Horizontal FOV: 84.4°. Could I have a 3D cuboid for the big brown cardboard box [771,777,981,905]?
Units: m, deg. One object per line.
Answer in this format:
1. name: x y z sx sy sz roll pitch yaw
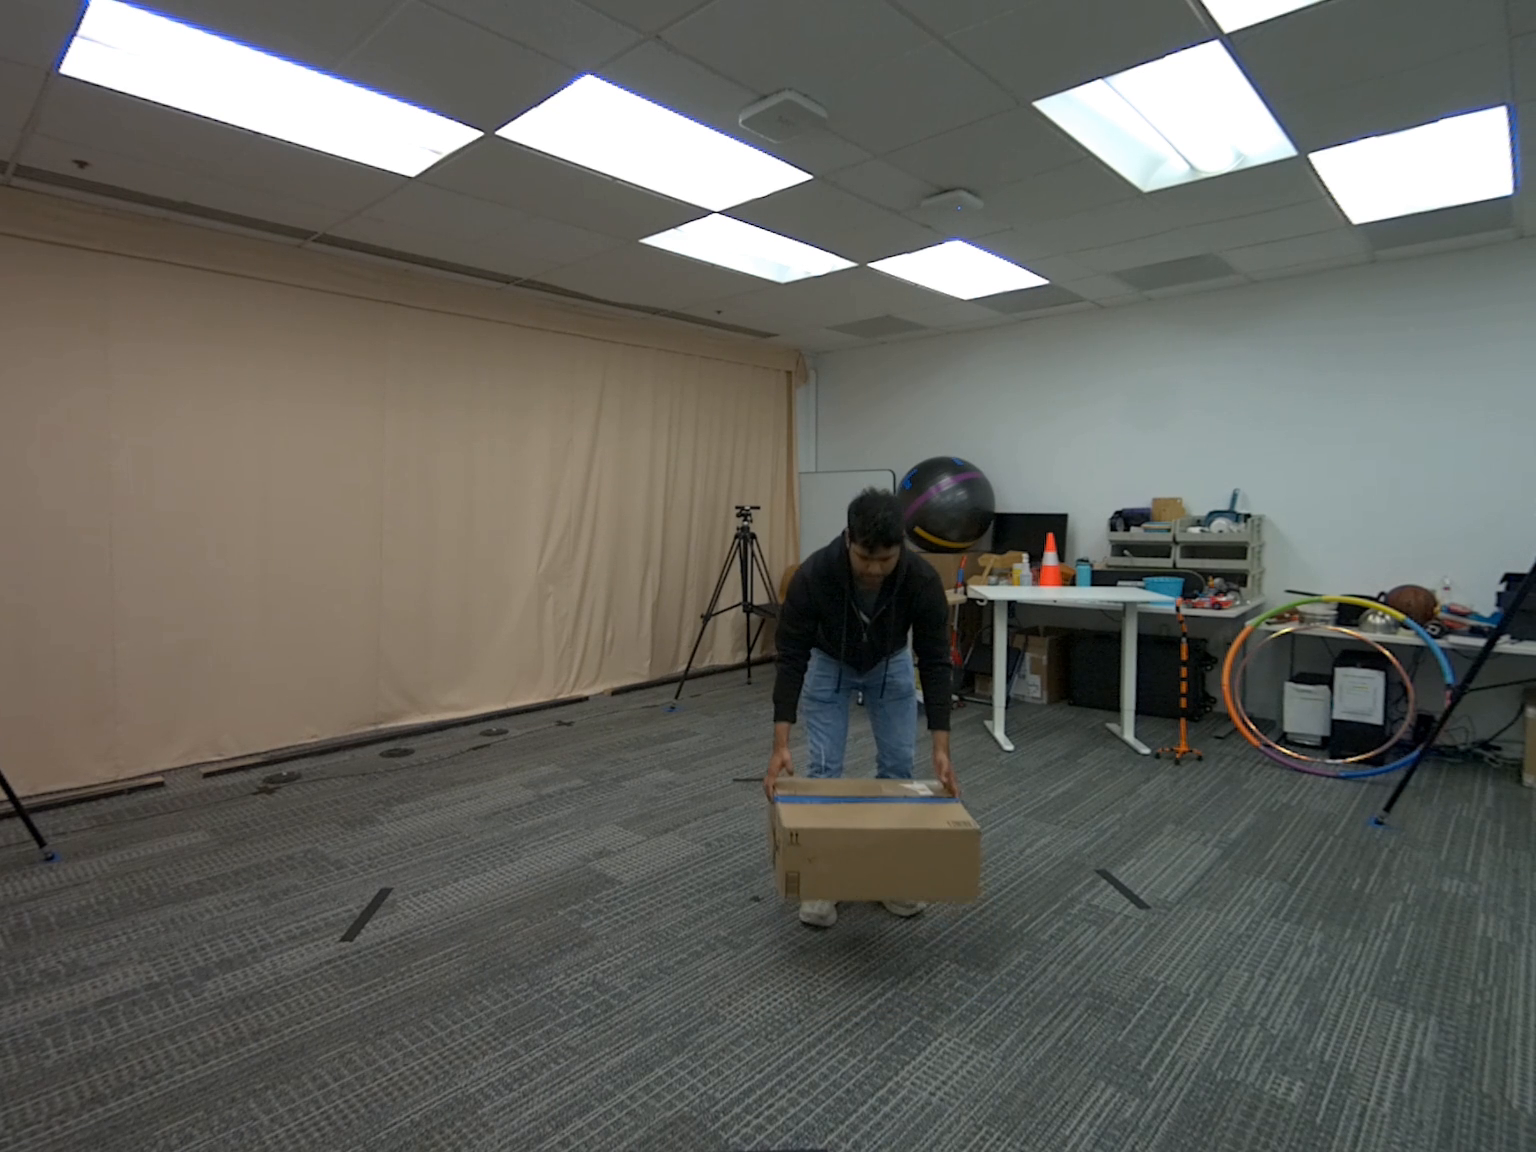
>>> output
1. big brown cardboard box: 0.304 0.792 2.574 0.587 0.232 0.420 1 4 -4
